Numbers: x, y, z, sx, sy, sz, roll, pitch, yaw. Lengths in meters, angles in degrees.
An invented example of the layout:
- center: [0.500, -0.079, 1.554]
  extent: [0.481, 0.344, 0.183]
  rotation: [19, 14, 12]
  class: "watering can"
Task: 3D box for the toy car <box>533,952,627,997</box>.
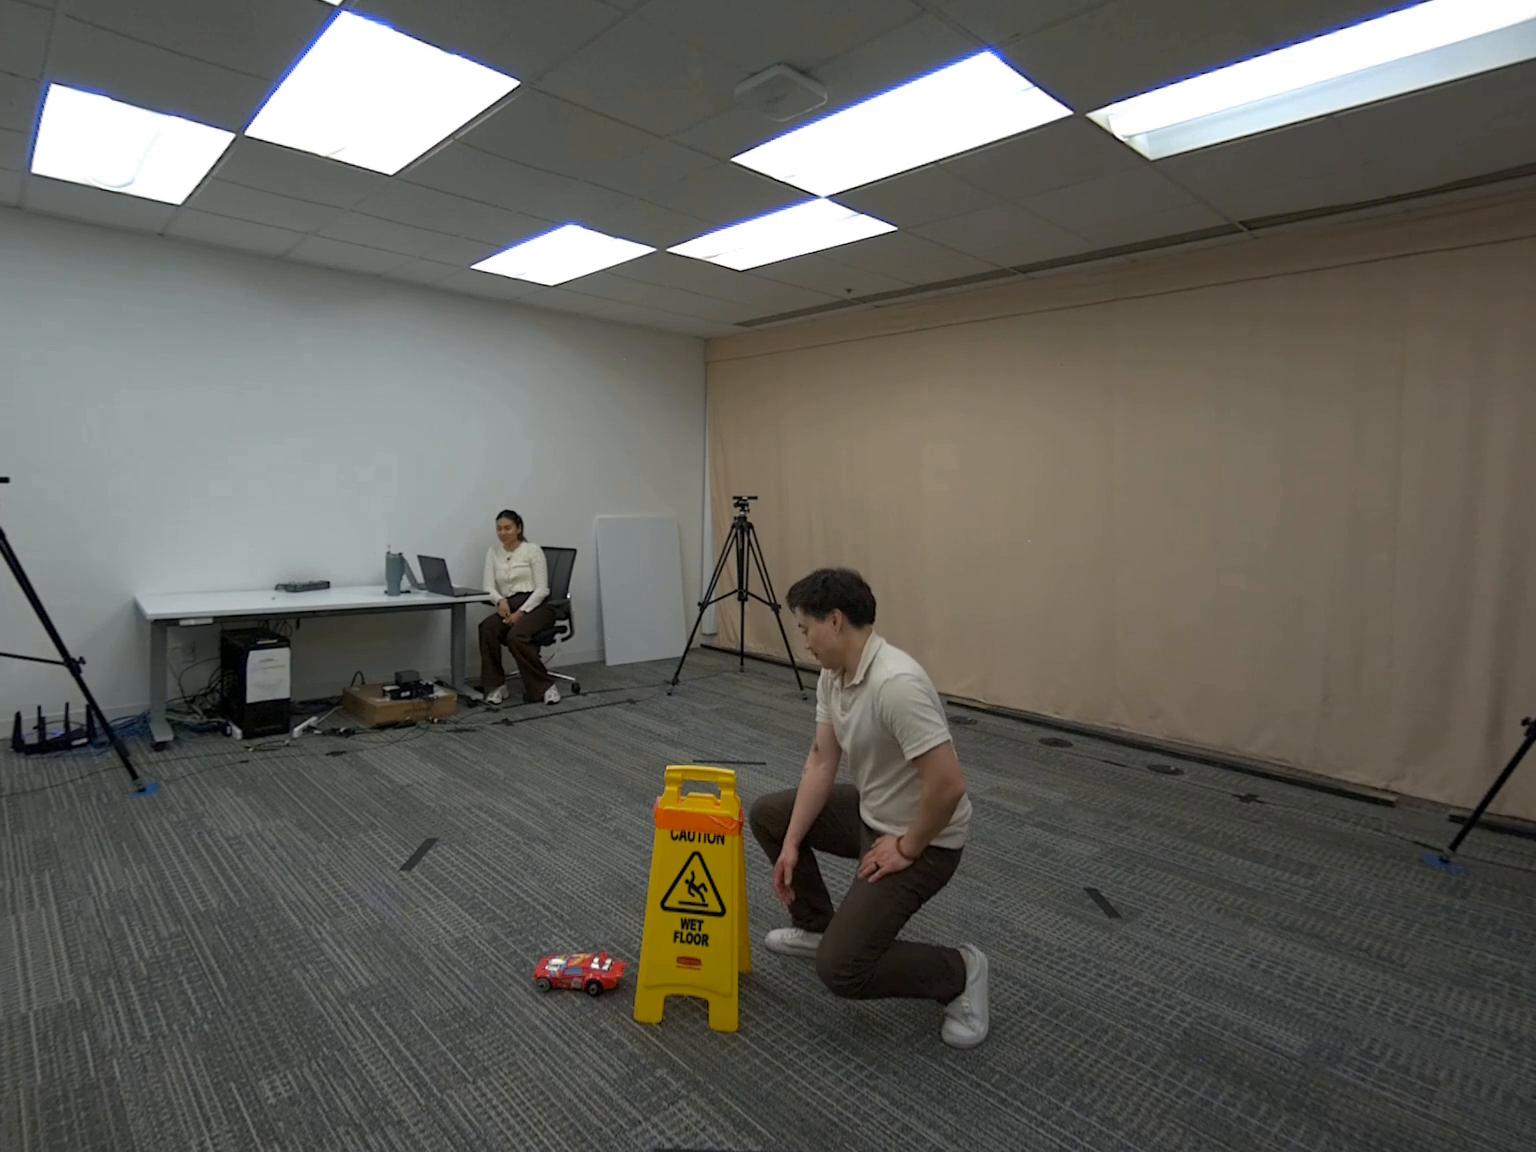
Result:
- center: [-0.531, 1.122, 2.393]
  extent: [0.256, 0.083, 0.130]
  rotation: [-9, 3, 7]
  class: "toy car"
